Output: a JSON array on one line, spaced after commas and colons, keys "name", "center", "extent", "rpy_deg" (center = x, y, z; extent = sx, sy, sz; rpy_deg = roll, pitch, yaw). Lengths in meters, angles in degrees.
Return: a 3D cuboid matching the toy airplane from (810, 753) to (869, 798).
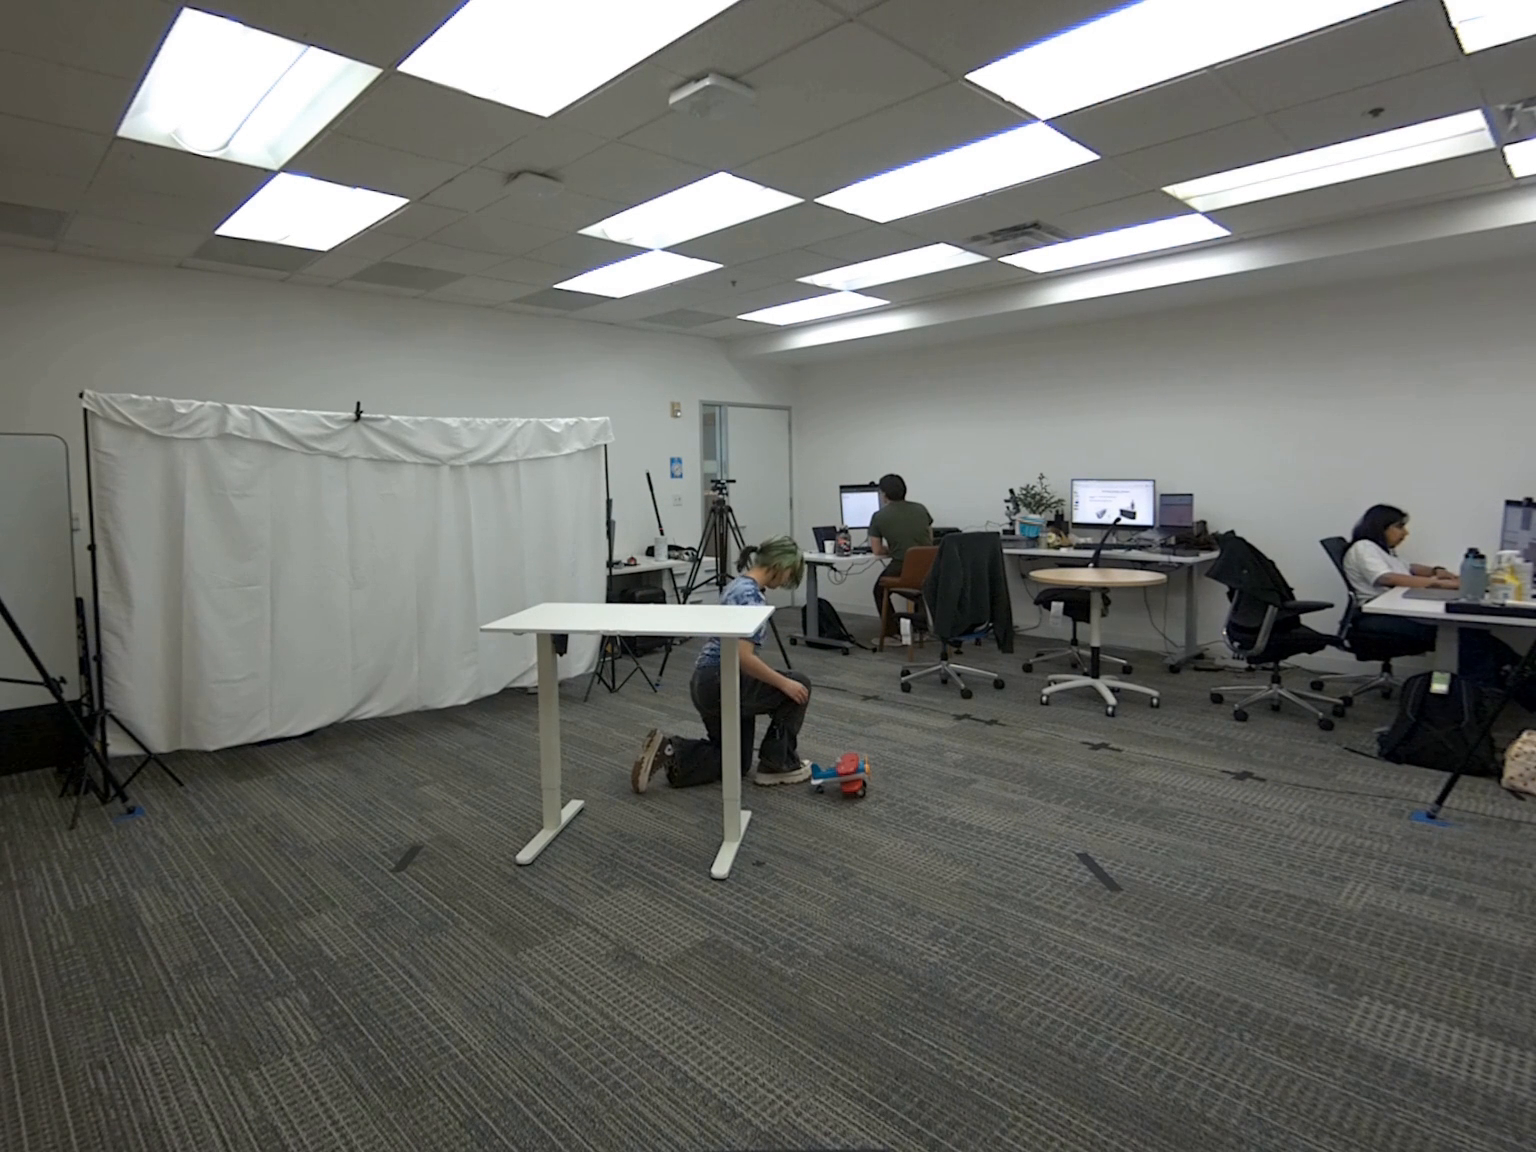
[{"name": "toy airplane", "center": [0.323, 0.893, 3.776], "extent": [0.255, 0.156, 0.256], "rpy_deg": [-3, 6, -17]}]
